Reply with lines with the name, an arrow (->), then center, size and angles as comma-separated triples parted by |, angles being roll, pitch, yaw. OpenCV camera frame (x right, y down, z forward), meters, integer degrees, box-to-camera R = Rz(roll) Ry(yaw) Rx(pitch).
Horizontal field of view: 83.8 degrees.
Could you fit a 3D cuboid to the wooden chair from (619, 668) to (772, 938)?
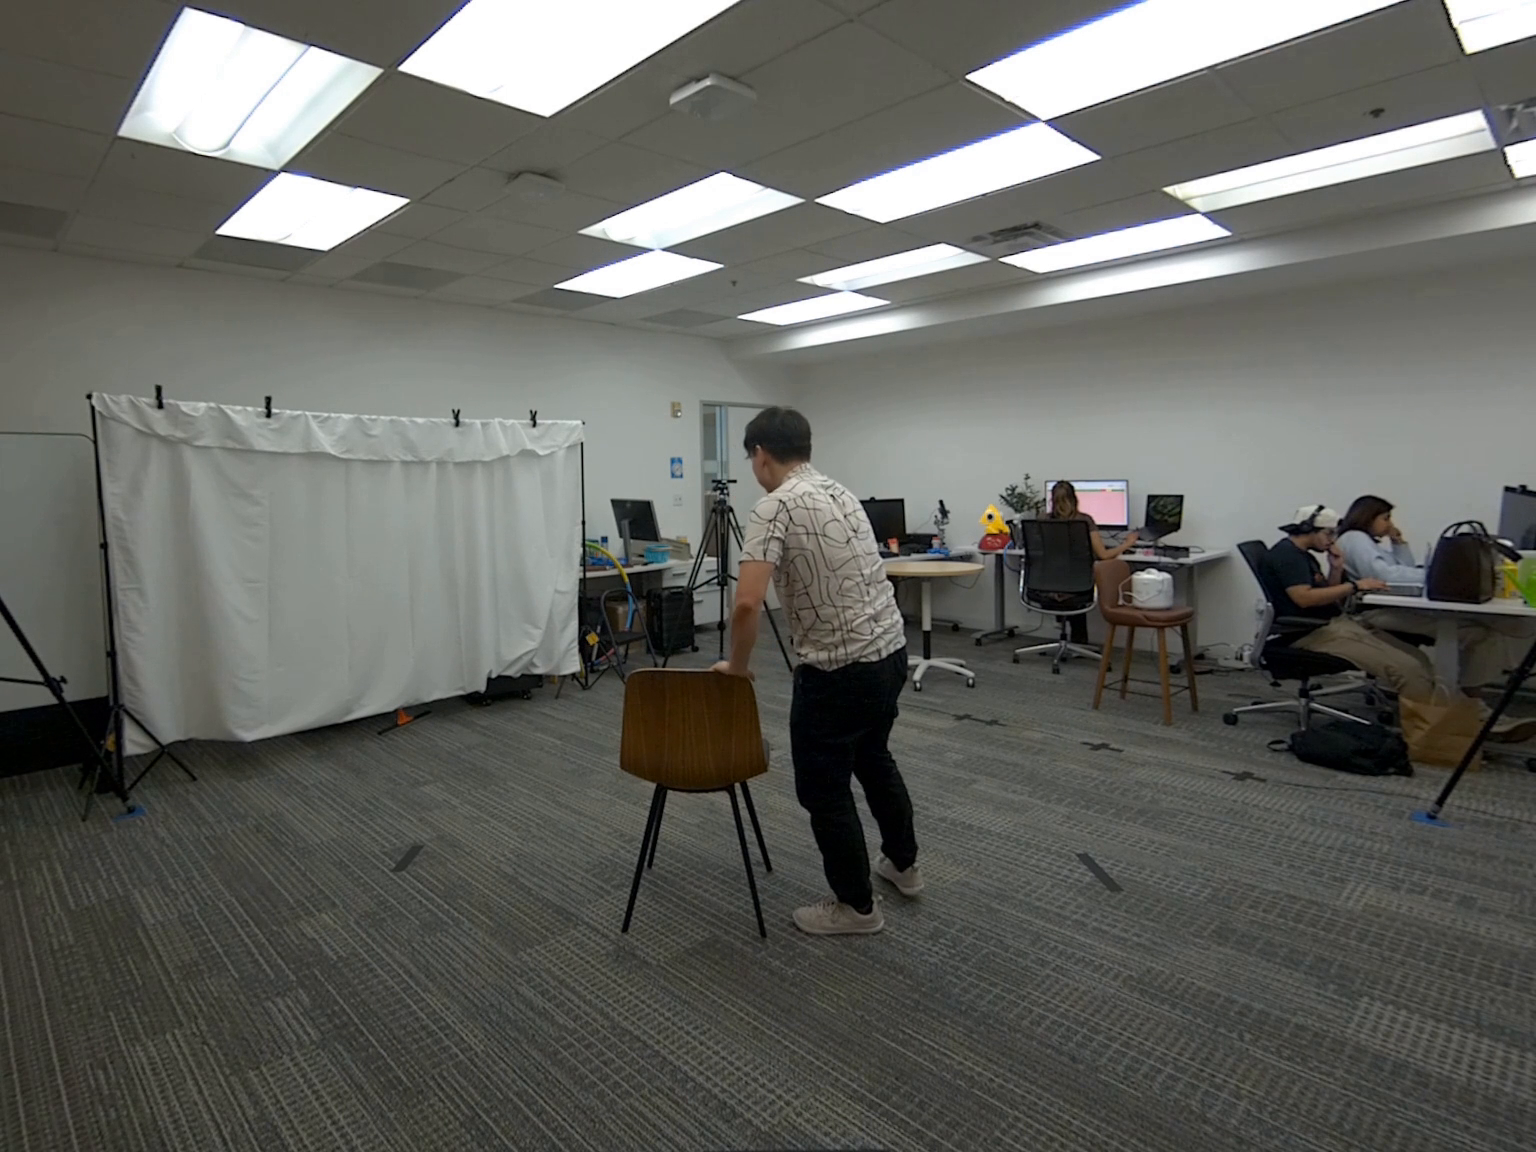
wooden chair -> -0.229, 0.654, 2.827 | 0.480, 0.871, 0.525 | -1, 8, 4
